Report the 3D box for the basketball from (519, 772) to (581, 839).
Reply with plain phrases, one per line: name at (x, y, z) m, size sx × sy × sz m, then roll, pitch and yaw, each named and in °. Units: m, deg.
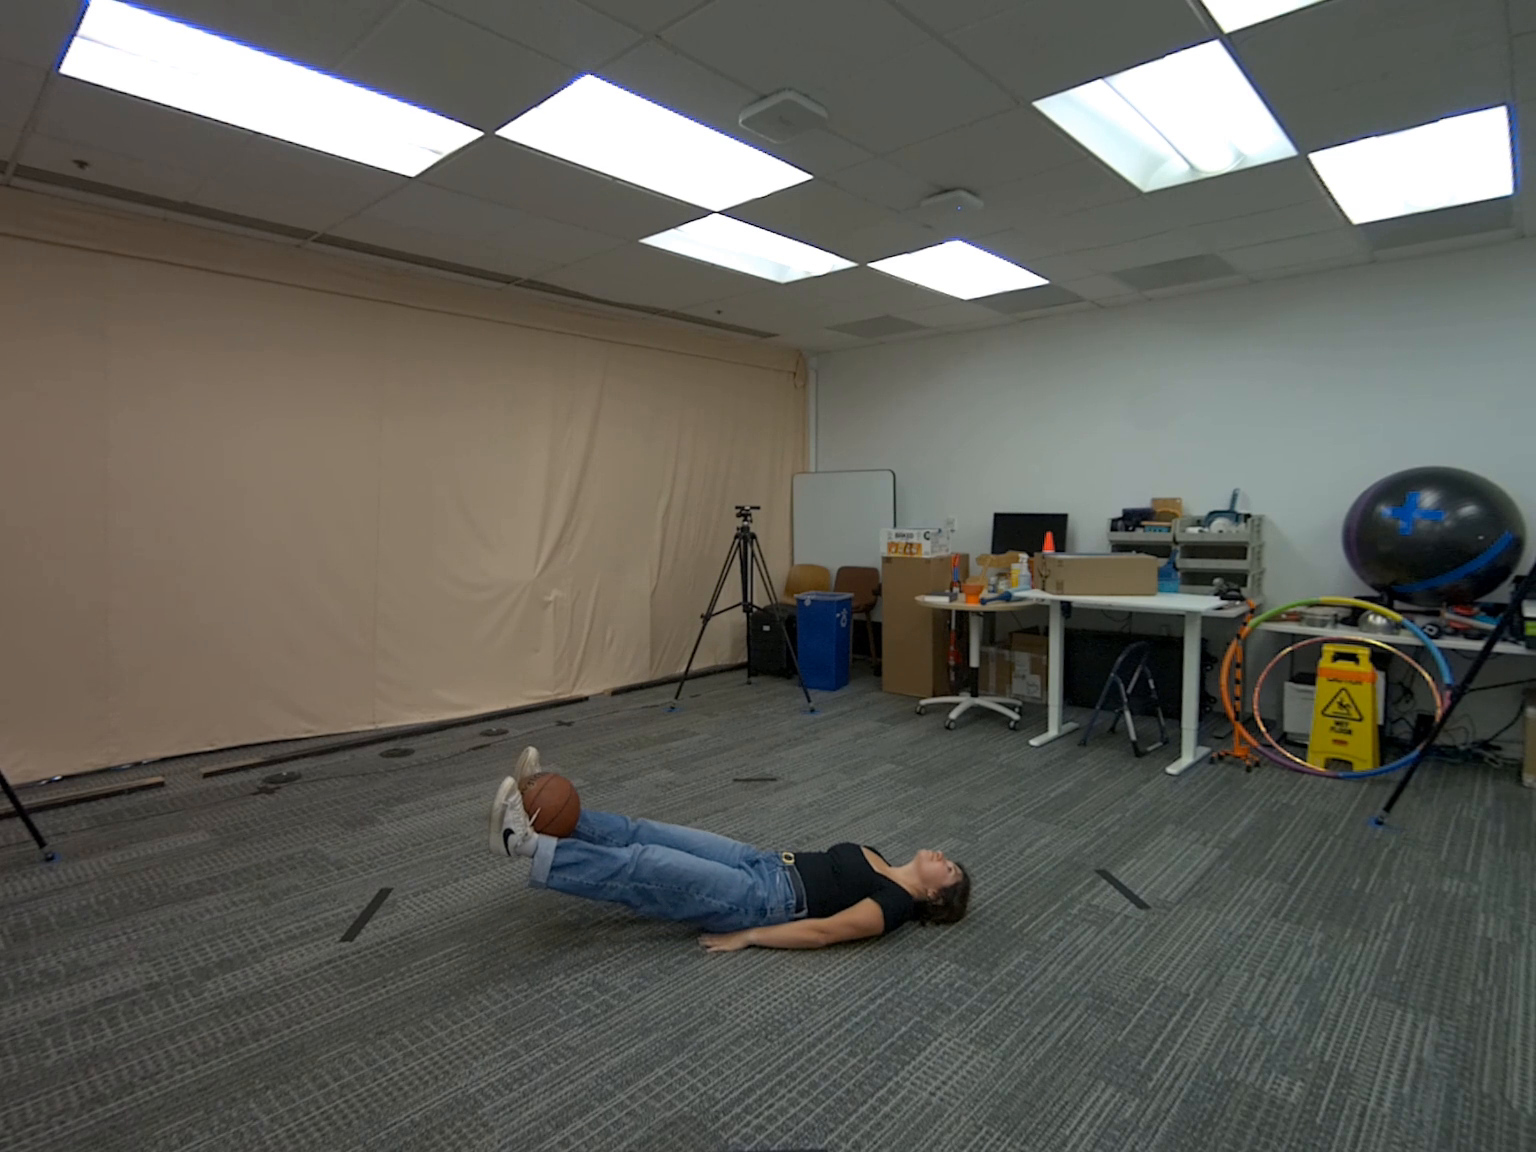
basketball at (-0.730, 0.761, 2.747) m, size 0.236 × 0.235 × 0.237 m, roll 0°, pitch 4°, yaw -2°
